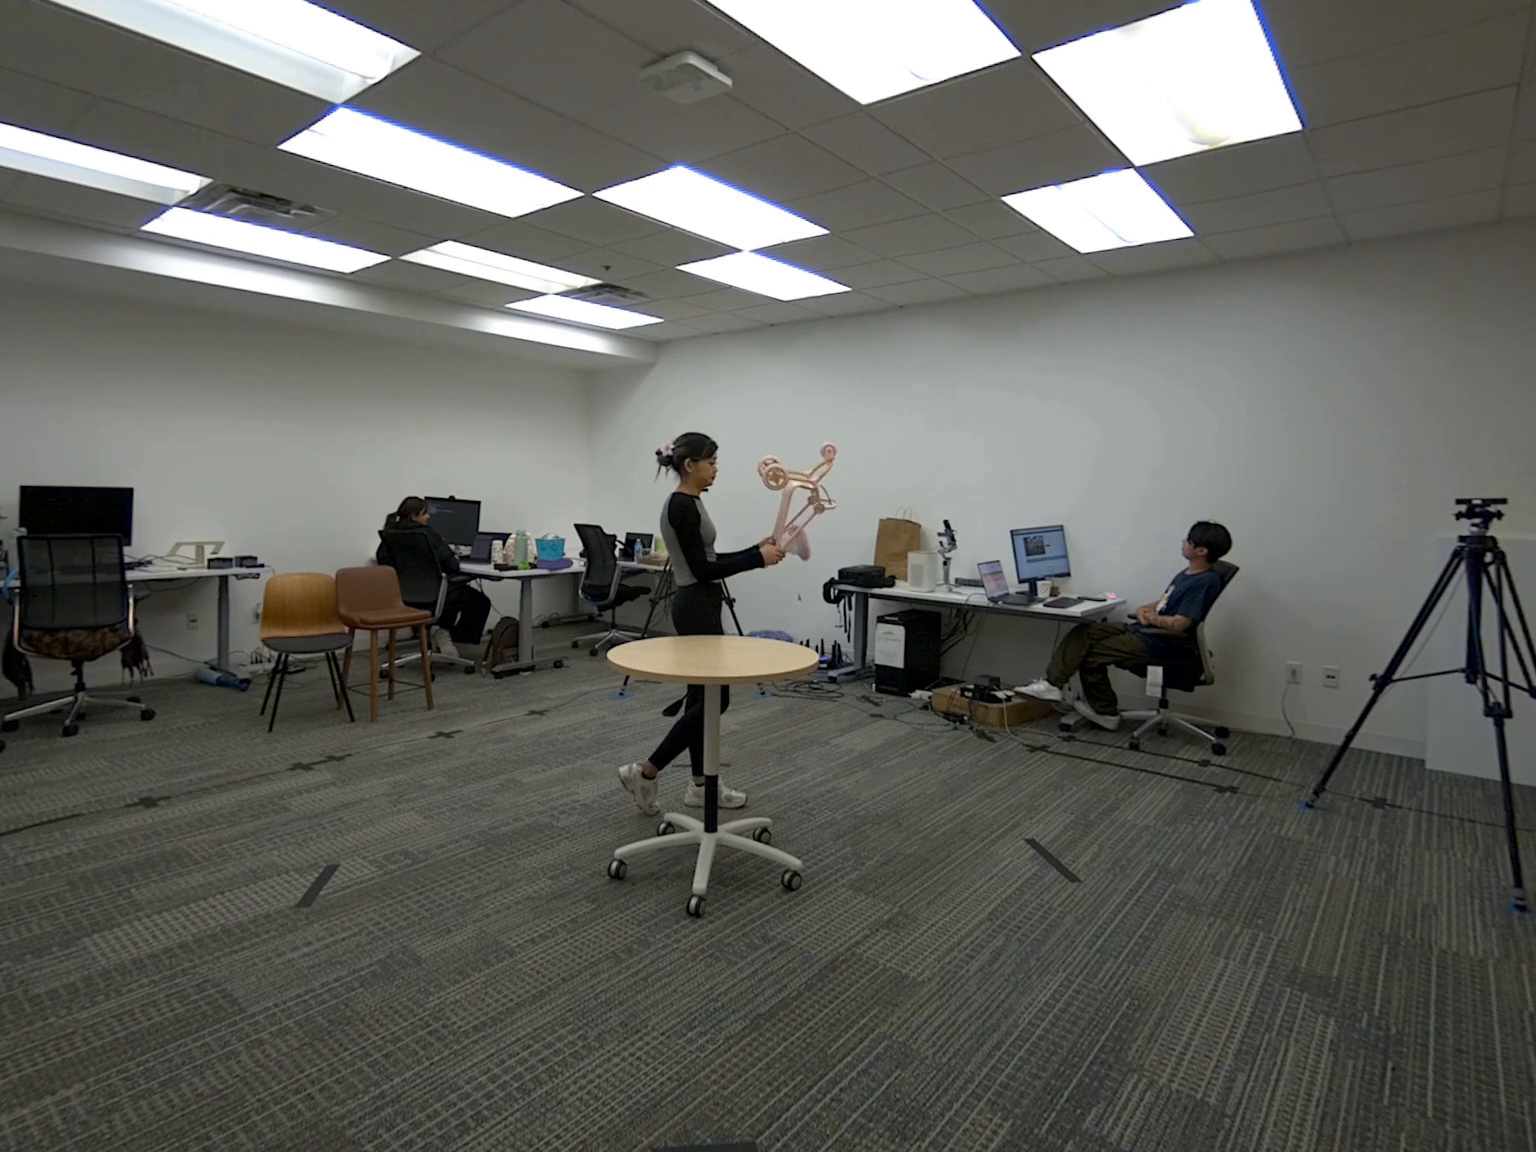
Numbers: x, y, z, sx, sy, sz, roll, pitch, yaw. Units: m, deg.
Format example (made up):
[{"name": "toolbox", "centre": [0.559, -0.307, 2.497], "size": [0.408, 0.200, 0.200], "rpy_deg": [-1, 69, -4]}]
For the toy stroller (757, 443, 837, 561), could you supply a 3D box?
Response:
[{"name": "toy stroller", "centre": [0.116, -0.303, 3.644], "size": [0.339, 0.529, 0.287], "rpy_deg": [-3, 12, -8]}]
